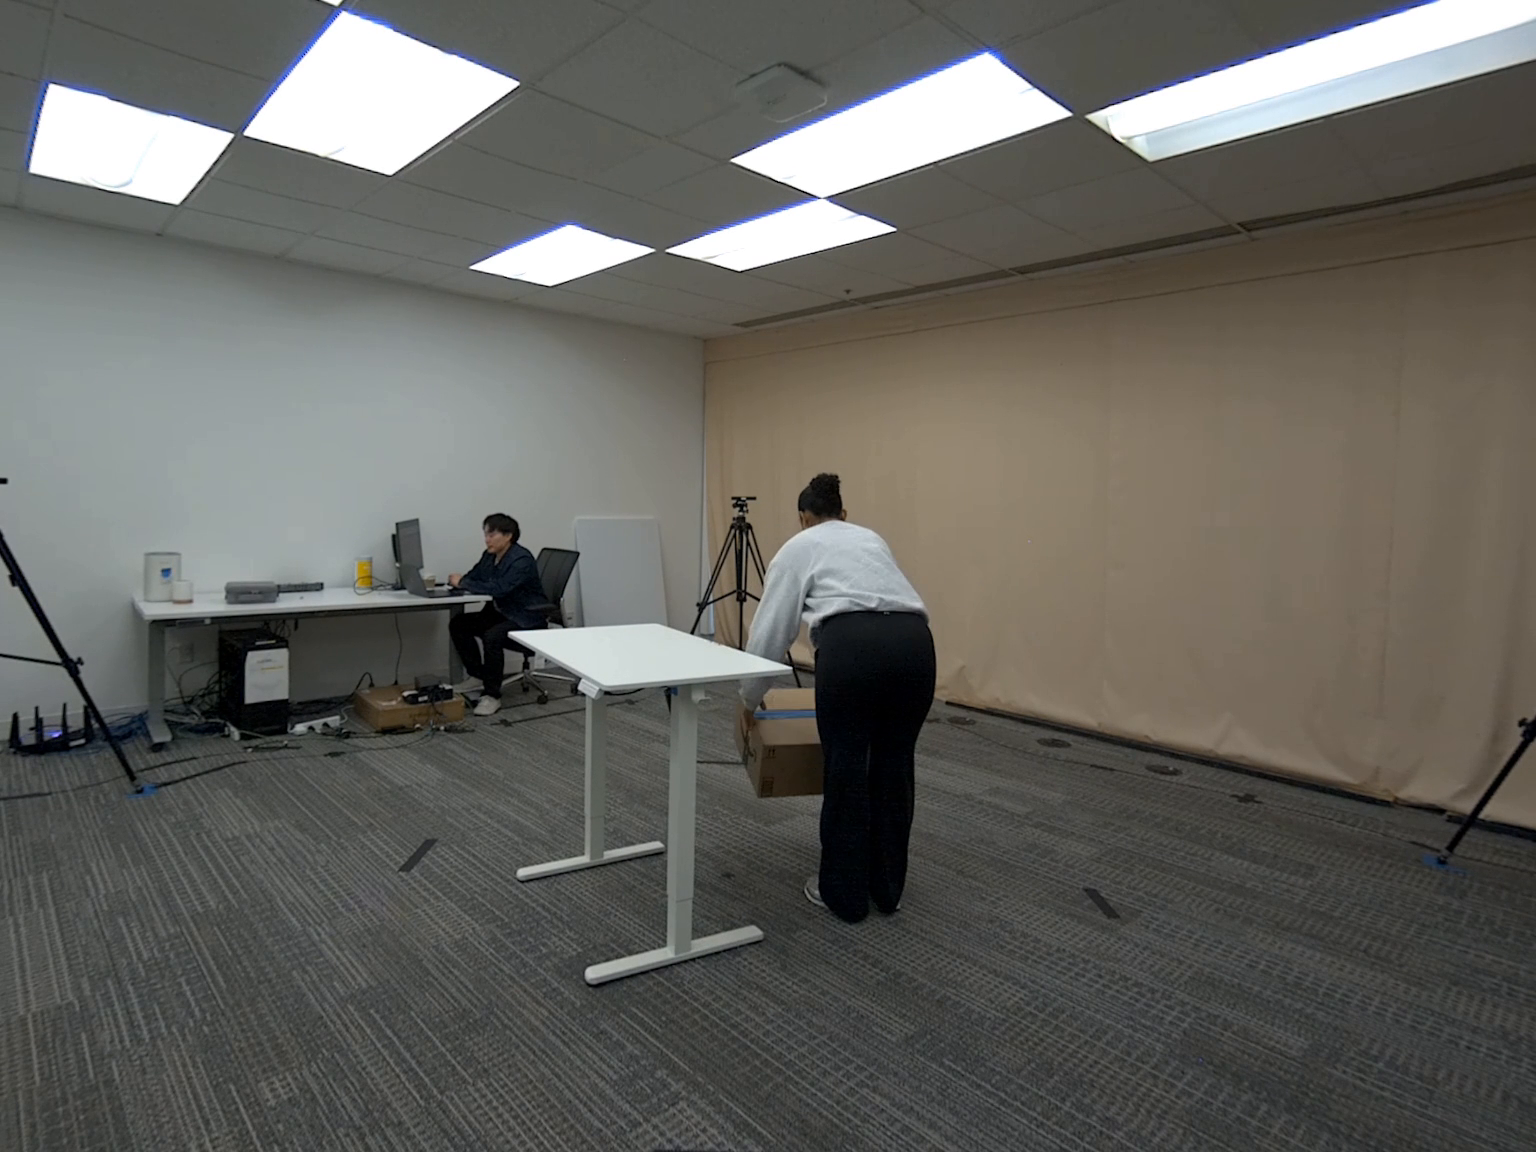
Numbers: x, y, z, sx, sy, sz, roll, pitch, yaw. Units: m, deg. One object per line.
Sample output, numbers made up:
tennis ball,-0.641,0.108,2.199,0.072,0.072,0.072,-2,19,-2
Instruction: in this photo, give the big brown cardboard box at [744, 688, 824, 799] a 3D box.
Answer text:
big brown cardboard box,0.197,0.612,3.189,0.582,0.230,0.427,-1,18,-14
